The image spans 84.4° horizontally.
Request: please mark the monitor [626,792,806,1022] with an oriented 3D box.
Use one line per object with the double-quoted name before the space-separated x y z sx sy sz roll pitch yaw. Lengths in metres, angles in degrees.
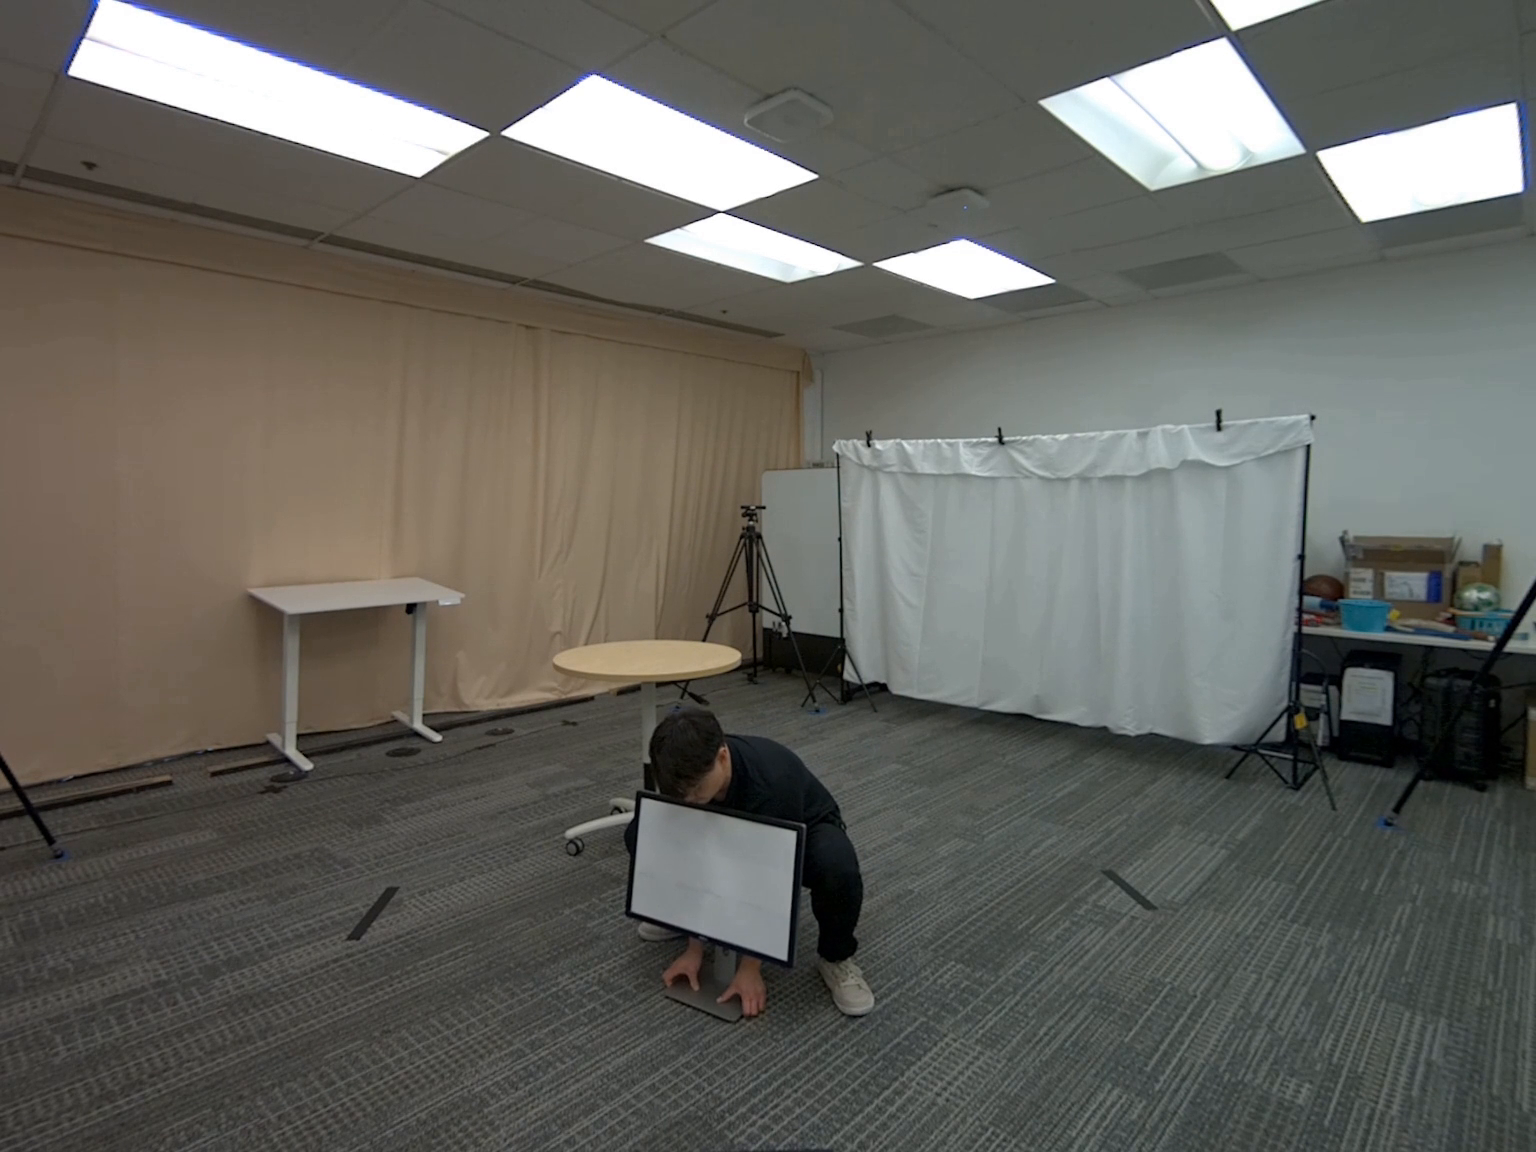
"monitor" -0.152 0.915 2.400 0.555 0.521 0.182 1 4 31
